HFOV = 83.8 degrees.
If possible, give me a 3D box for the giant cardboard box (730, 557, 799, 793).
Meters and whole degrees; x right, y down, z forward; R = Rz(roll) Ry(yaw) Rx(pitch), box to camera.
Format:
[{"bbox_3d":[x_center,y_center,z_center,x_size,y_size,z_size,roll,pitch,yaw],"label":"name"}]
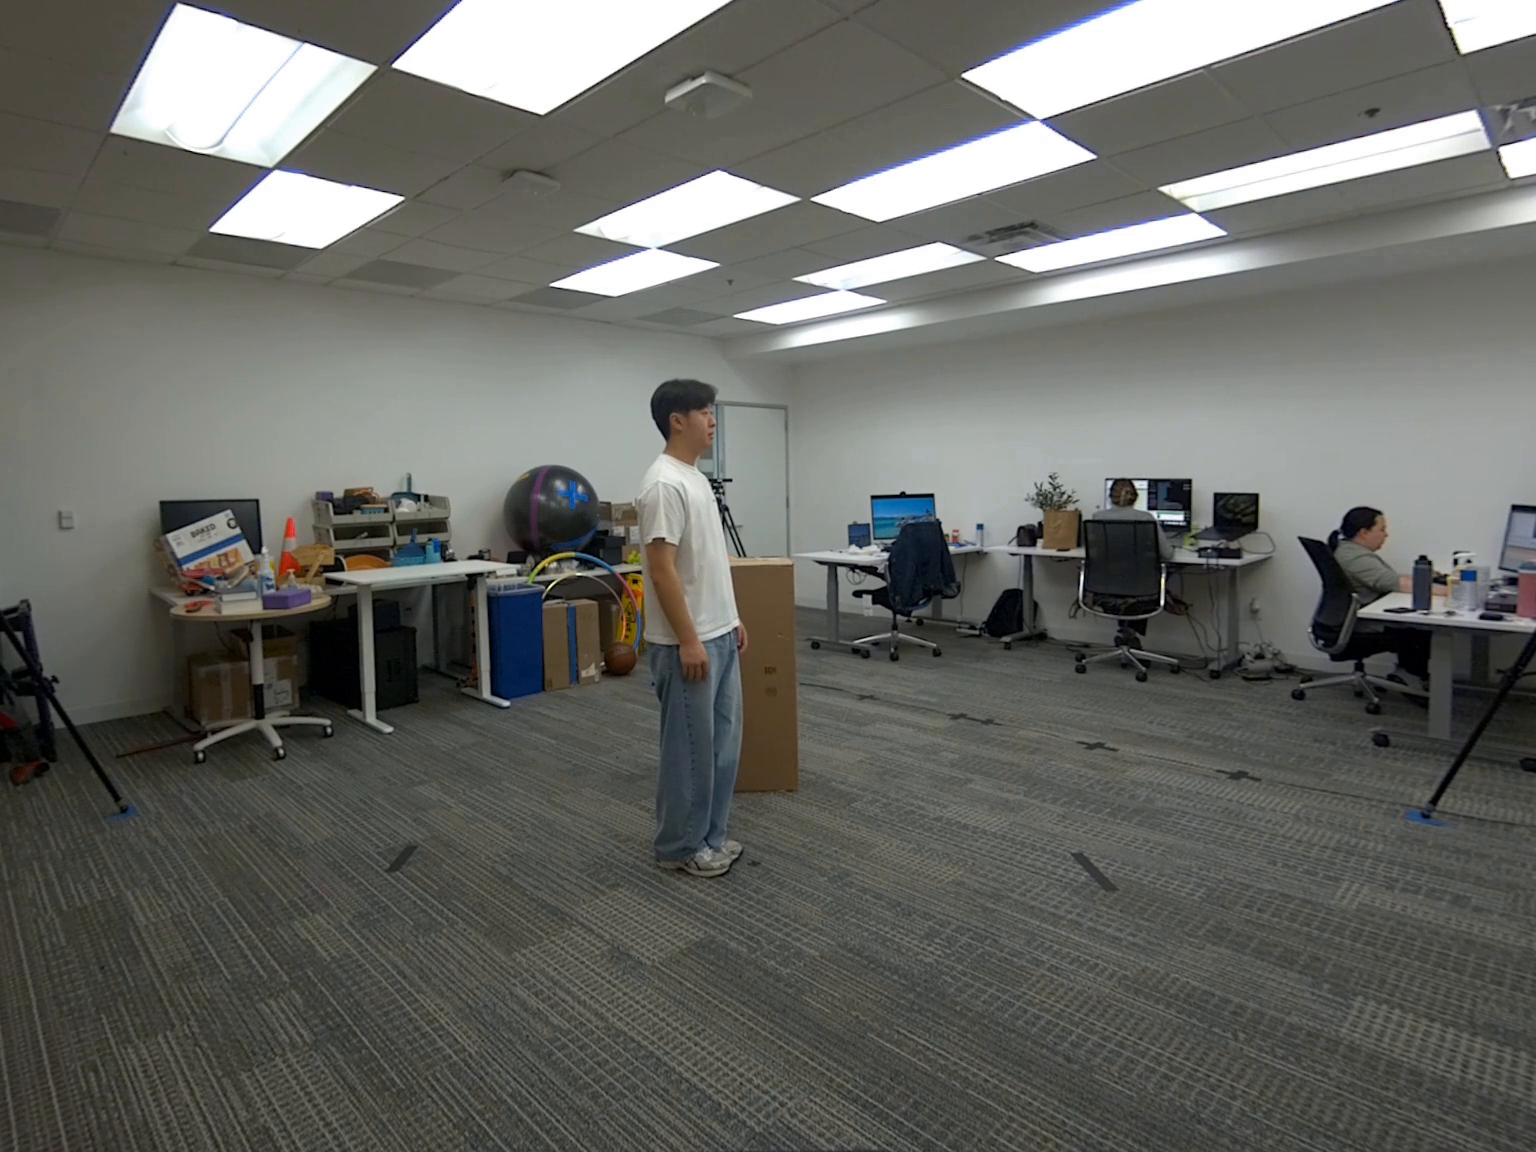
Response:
[{"bbox_3d":[-0.165,0.439,3.999,0.577,1.023,0.428,-1,3,-1],"label":"giant cardboard box"}]
